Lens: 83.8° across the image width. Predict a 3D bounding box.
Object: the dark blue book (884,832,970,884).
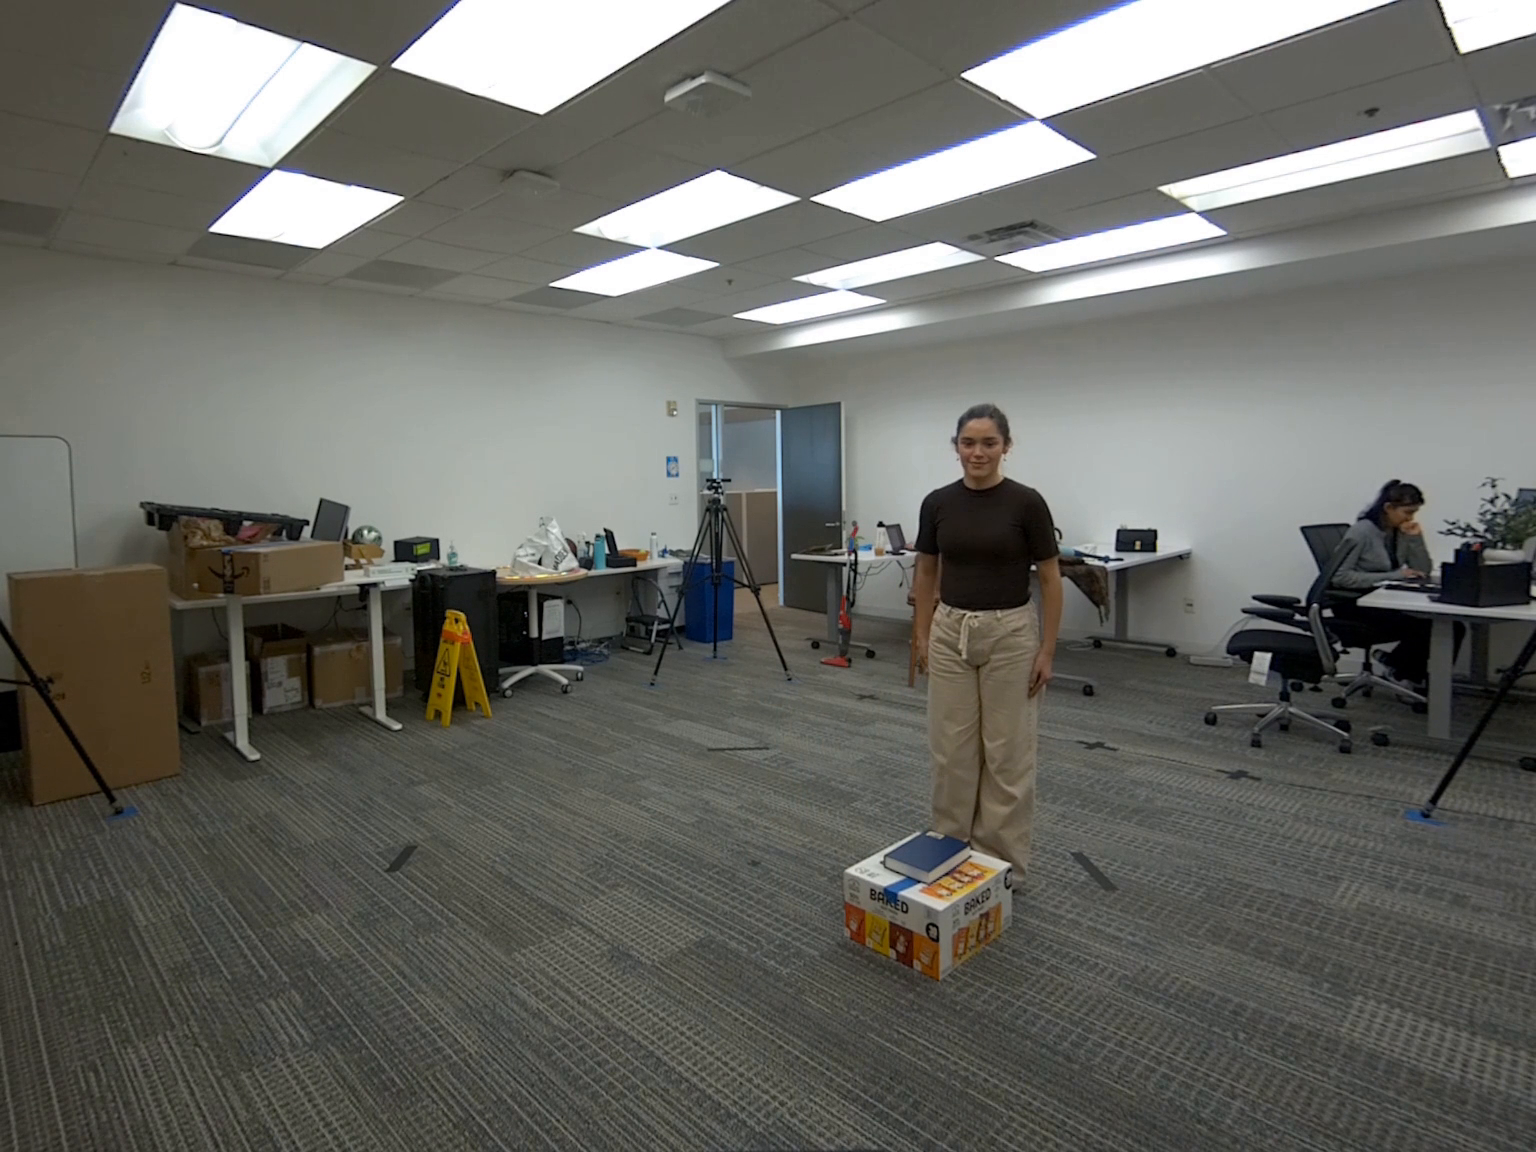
[{"bbox_3d":[0.500,0.864,2.660,0.168,0.045,0.239,5,11,44],"label":"dark blue book"}]
